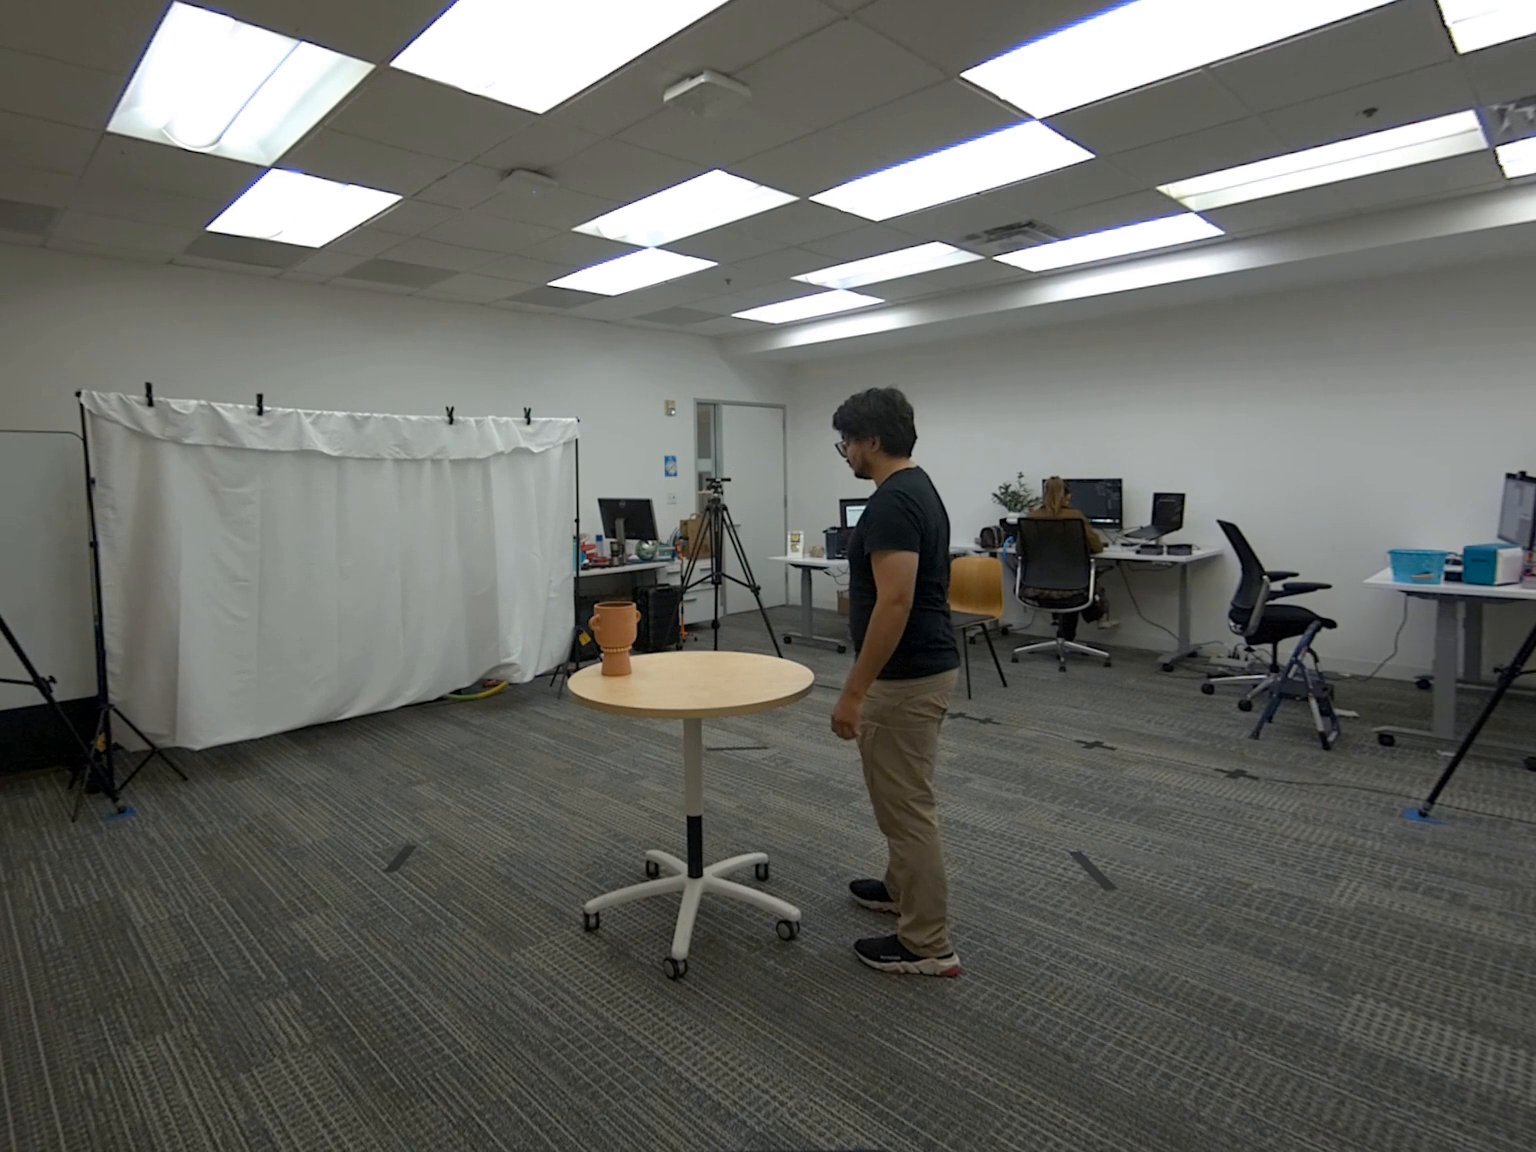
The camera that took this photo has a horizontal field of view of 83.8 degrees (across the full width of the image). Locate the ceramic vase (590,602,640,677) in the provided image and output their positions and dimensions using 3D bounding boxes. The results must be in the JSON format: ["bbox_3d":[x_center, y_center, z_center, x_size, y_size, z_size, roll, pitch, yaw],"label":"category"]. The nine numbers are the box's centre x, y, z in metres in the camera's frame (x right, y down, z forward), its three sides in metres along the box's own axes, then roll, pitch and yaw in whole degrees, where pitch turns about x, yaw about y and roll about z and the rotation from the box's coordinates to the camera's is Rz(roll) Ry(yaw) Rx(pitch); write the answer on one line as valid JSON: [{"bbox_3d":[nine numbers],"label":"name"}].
[{"bbox_3d":[-0.479,0.201,2.729,0.158,0.218,0.136,-2,6,-8],"label":"ceramic vase"}]
